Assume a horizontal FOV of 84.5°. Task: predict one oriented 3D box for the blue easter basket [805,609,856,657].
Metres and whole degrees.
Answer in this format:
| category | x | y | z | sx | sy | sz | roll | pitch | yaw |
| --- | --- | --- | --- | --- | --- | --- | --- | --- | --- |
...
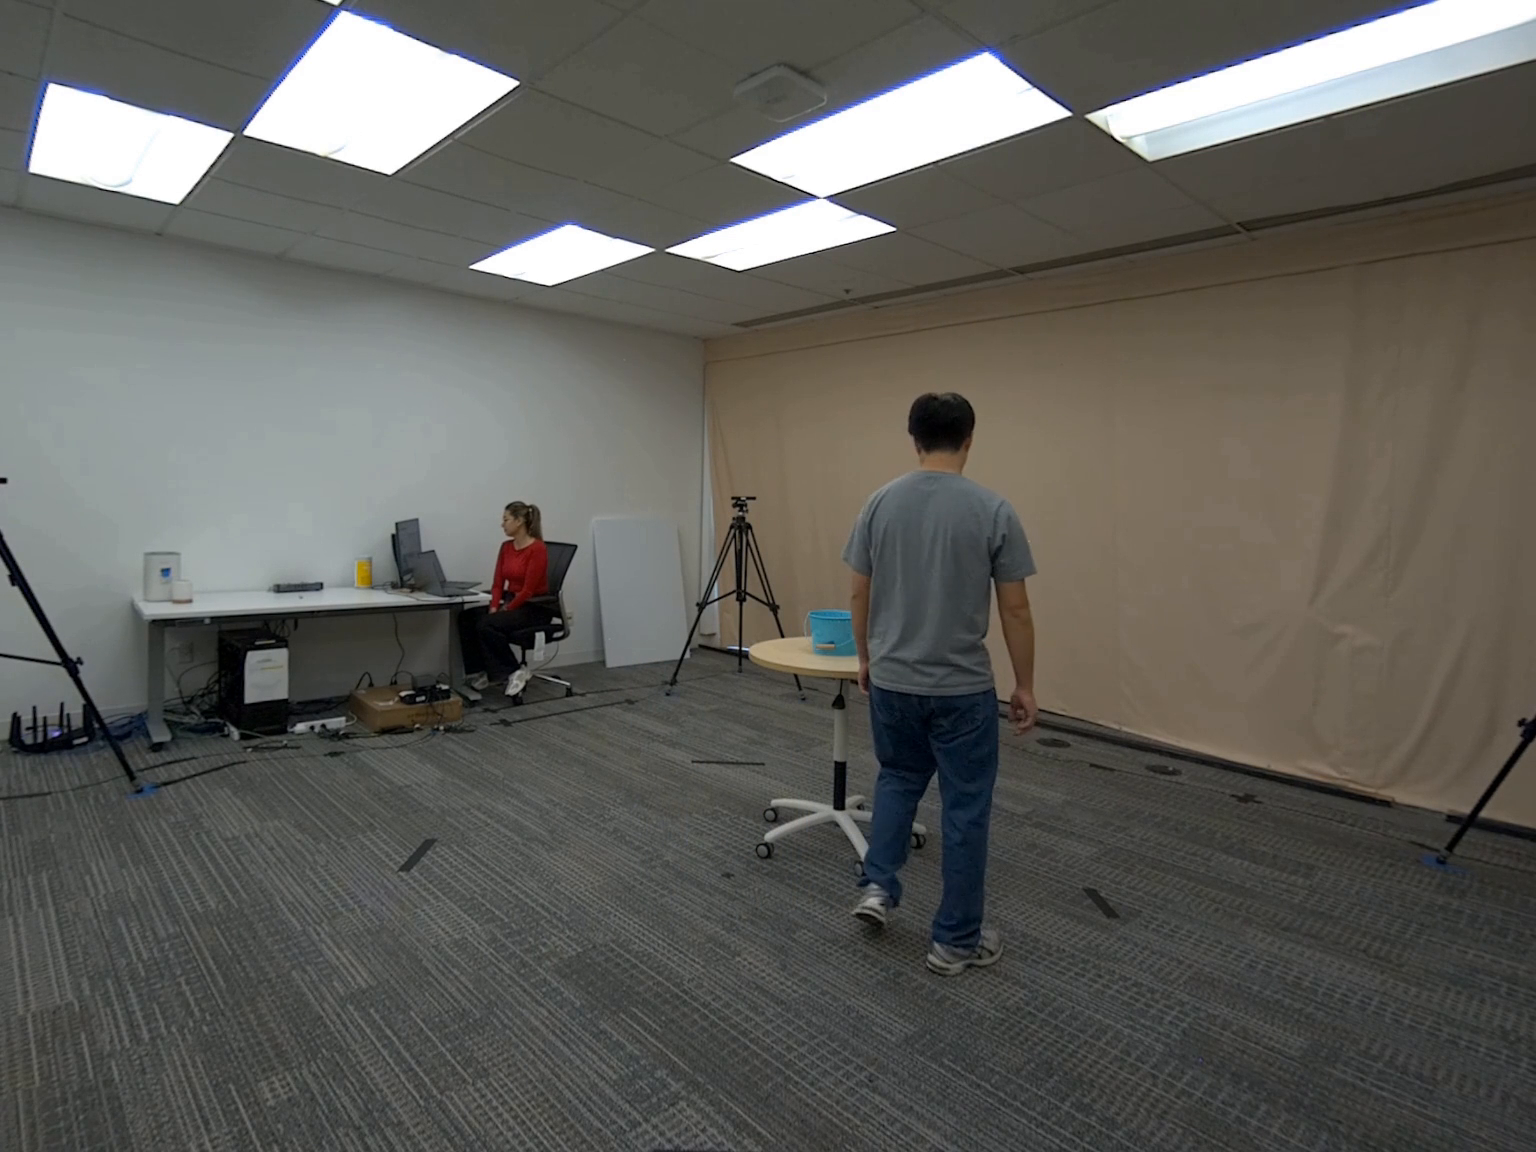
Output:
| category | x | y | z | sx | sy | sz | roll | pitch | yaw |
| --- | --- | --- | --- | --- | --- | --- | --- | --- | --- |
| blue easter basket | 0.262 | 0.232 | 3.408 | 0.243 | 0.155 | 0.244 | 2 | 3 | -1 |
